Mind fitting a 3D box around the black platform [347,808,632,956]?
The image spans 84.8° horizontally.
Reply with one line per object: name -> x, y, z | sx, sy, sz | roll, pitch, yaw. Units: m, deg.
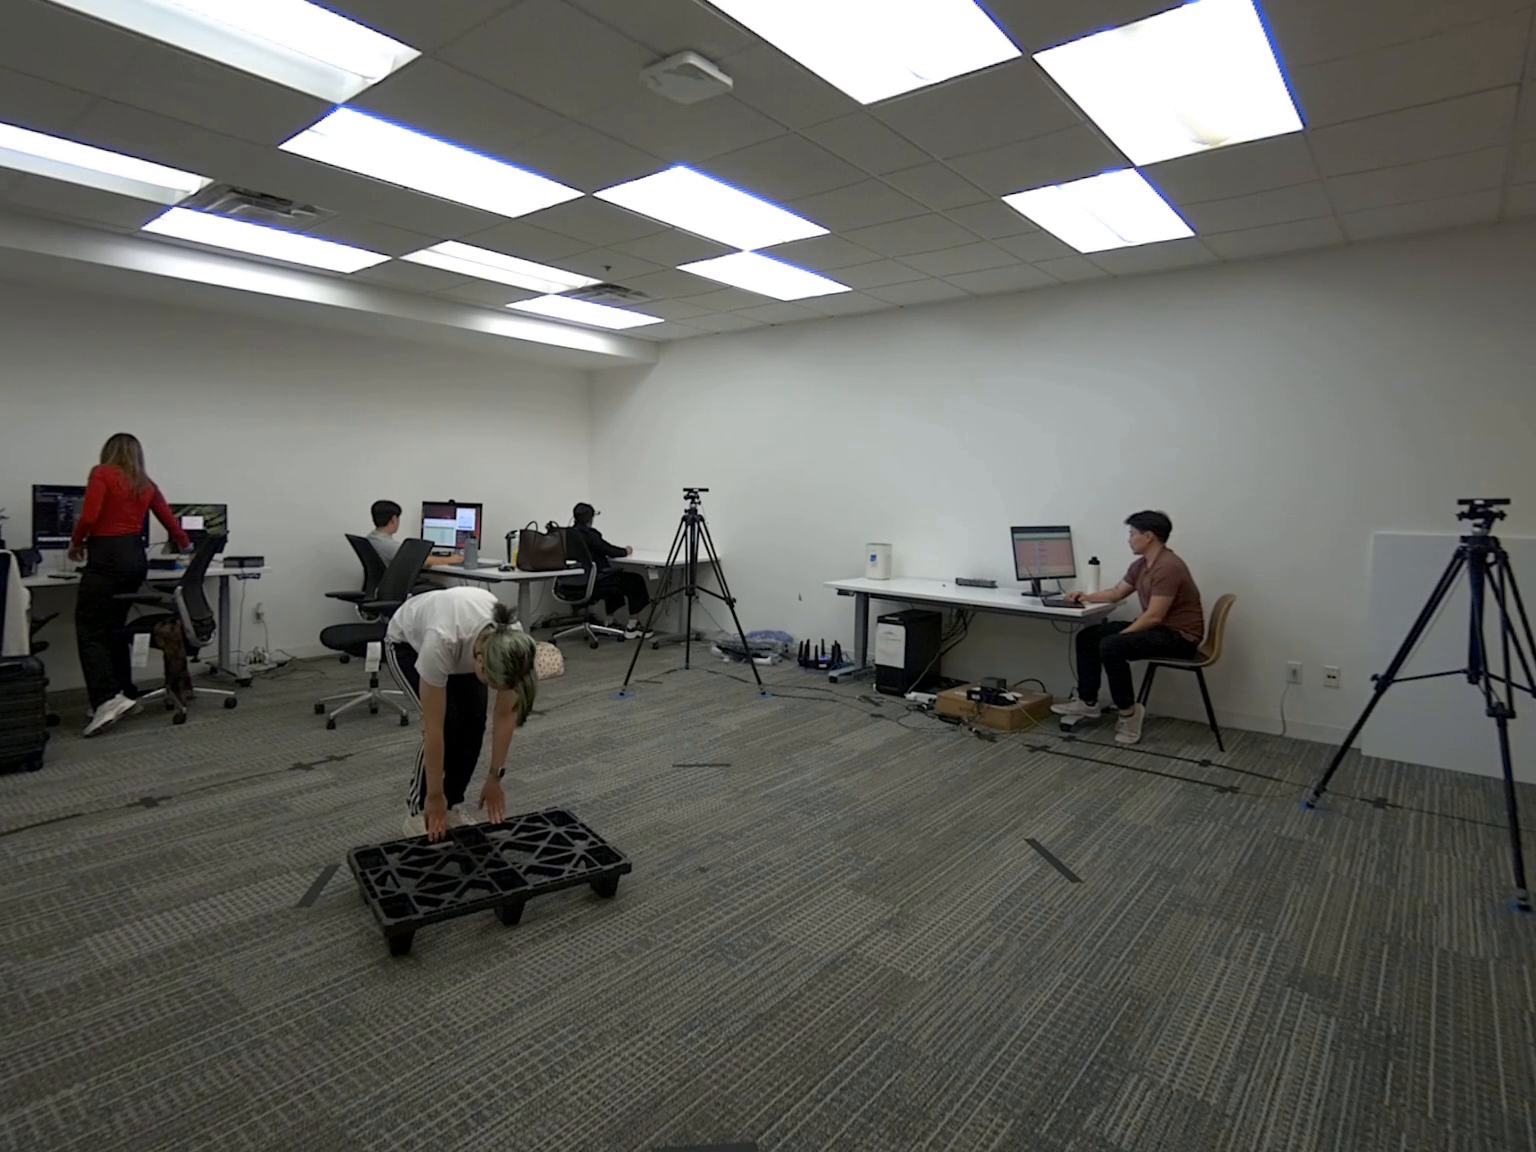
black platform -> -0.962, 1.012, 2.881 | 0.782, 0.143, 0.625 | -3, 6, -36
